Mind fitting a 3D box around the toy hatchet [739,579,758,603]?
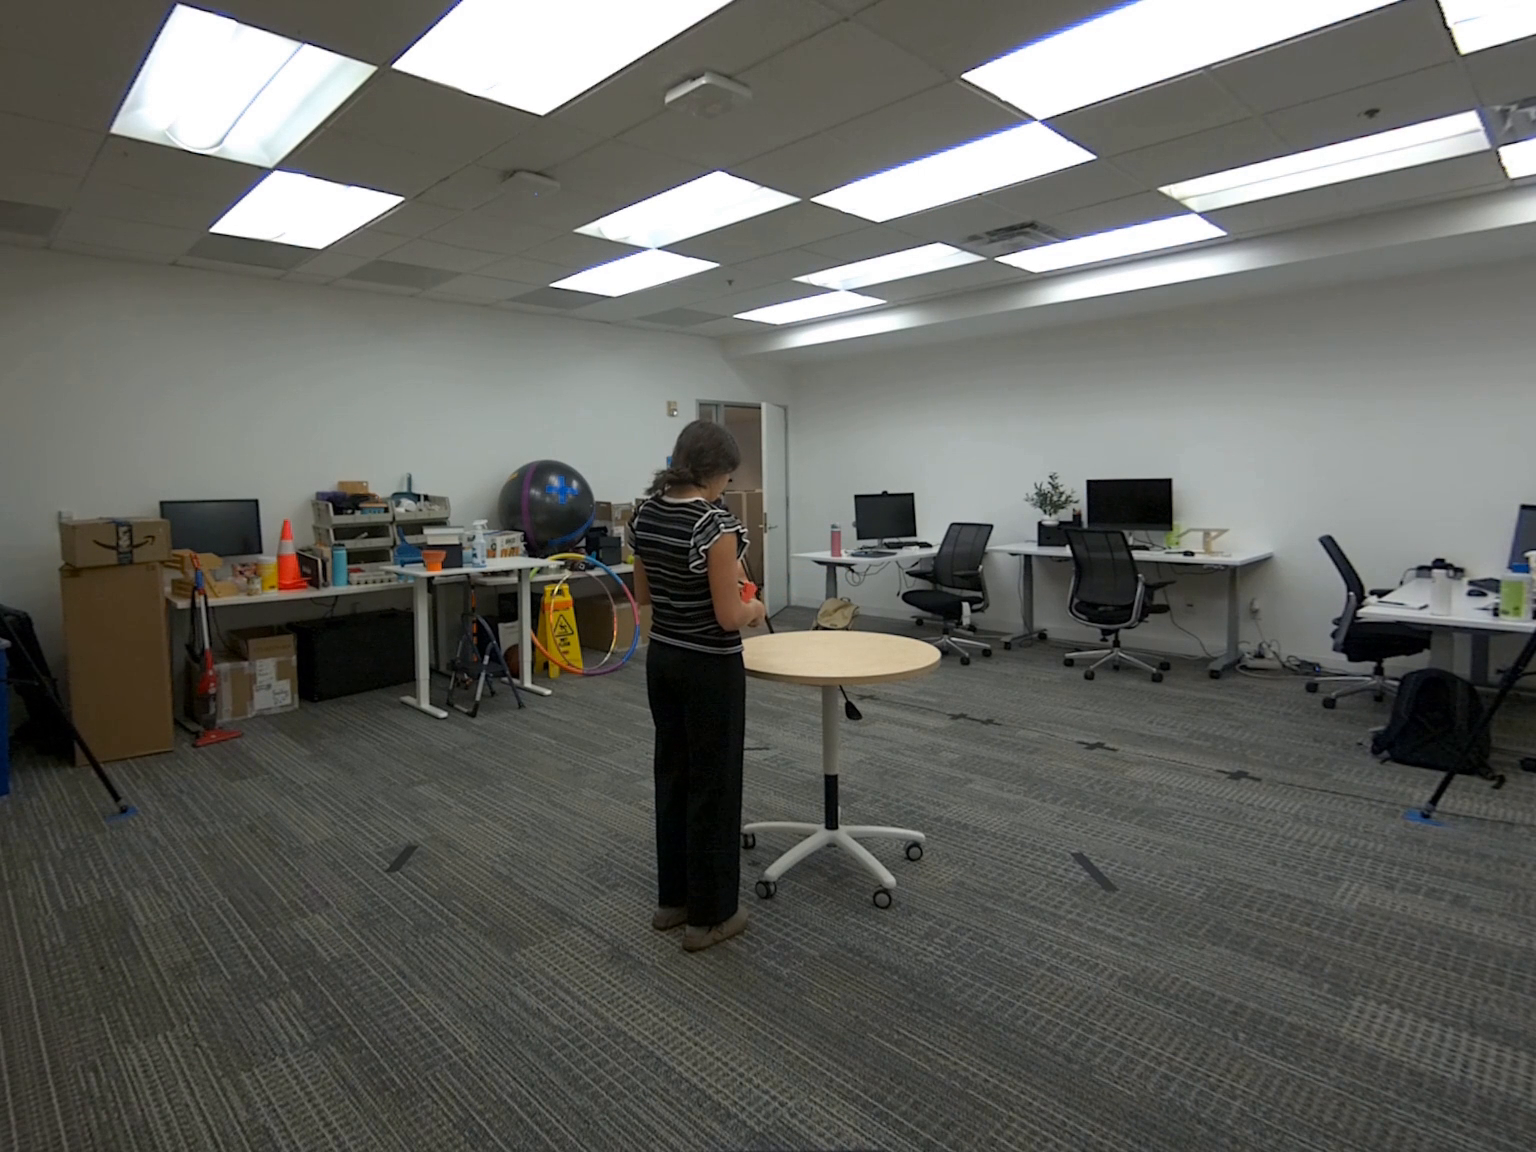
[{"bbox_3d":[-0.084,0.014,2.893,0.130,0.262,0.031,-20,50,-15],"label":"toy hatchet"}]
